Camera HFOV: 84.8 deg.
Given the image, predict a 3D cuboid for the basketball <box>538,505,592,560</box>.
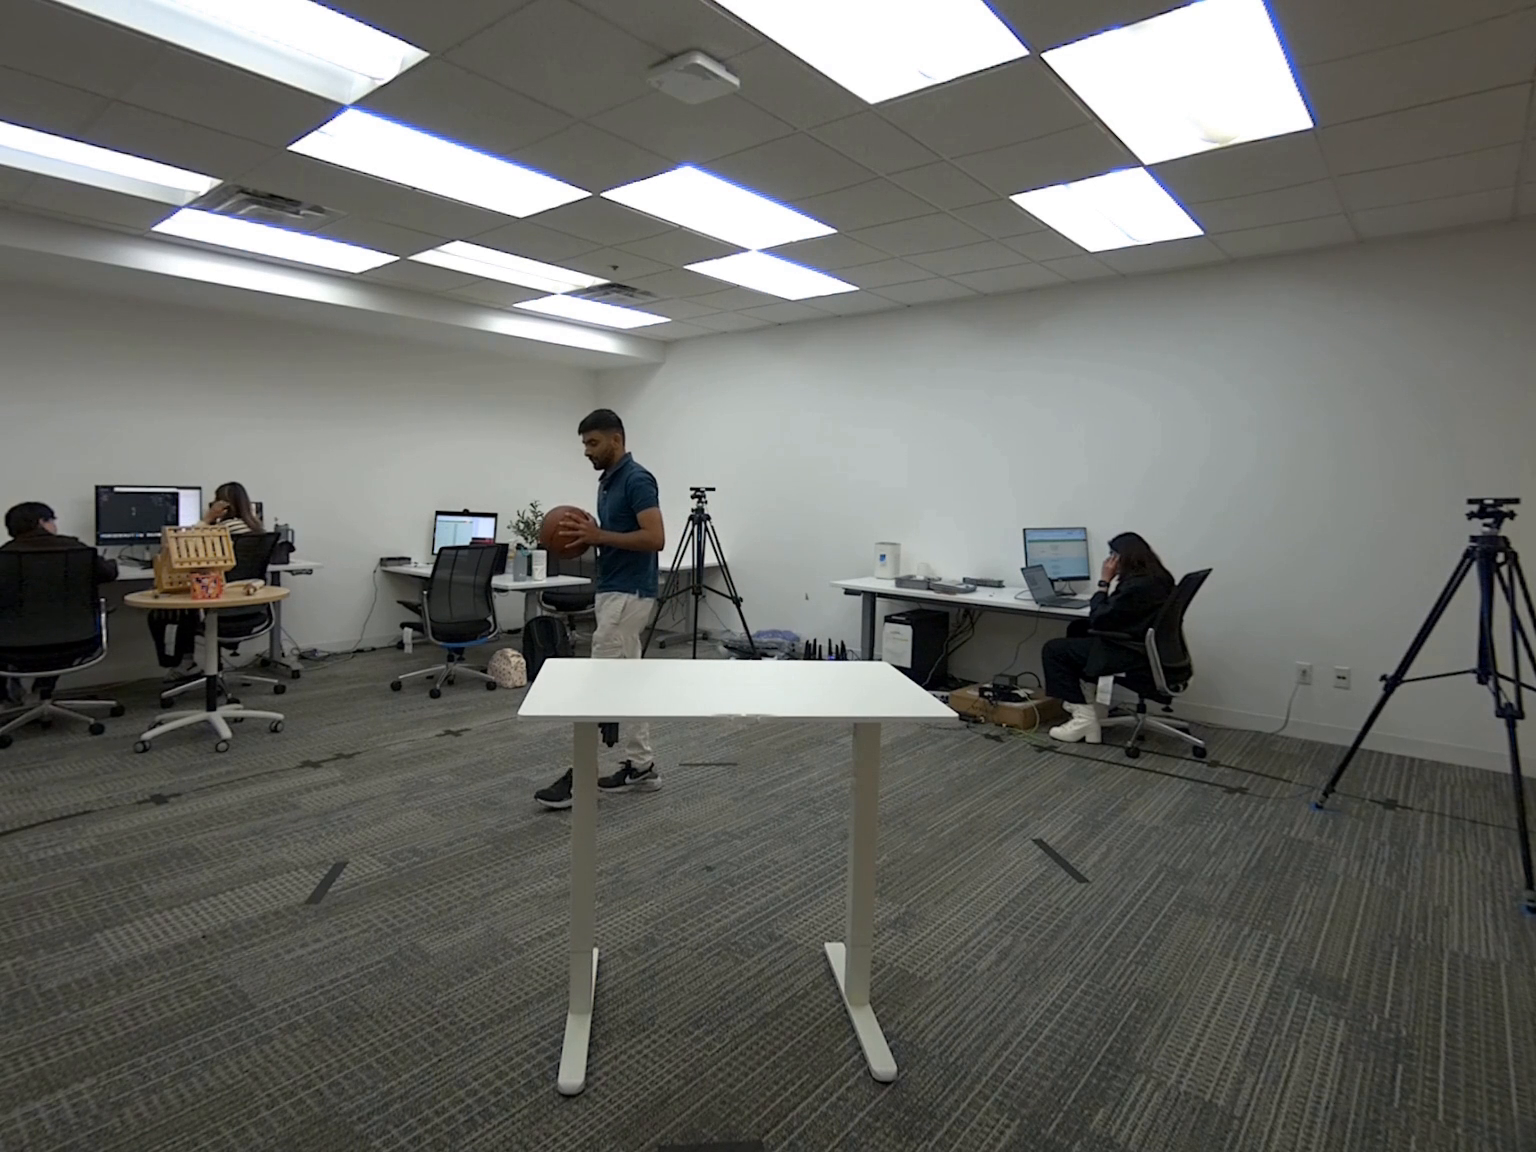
[{"bbox_3d":[-0.907,-0.197,3.736,0.235,0.235,0.237,1,4,-2],"label":"basketball"}]
